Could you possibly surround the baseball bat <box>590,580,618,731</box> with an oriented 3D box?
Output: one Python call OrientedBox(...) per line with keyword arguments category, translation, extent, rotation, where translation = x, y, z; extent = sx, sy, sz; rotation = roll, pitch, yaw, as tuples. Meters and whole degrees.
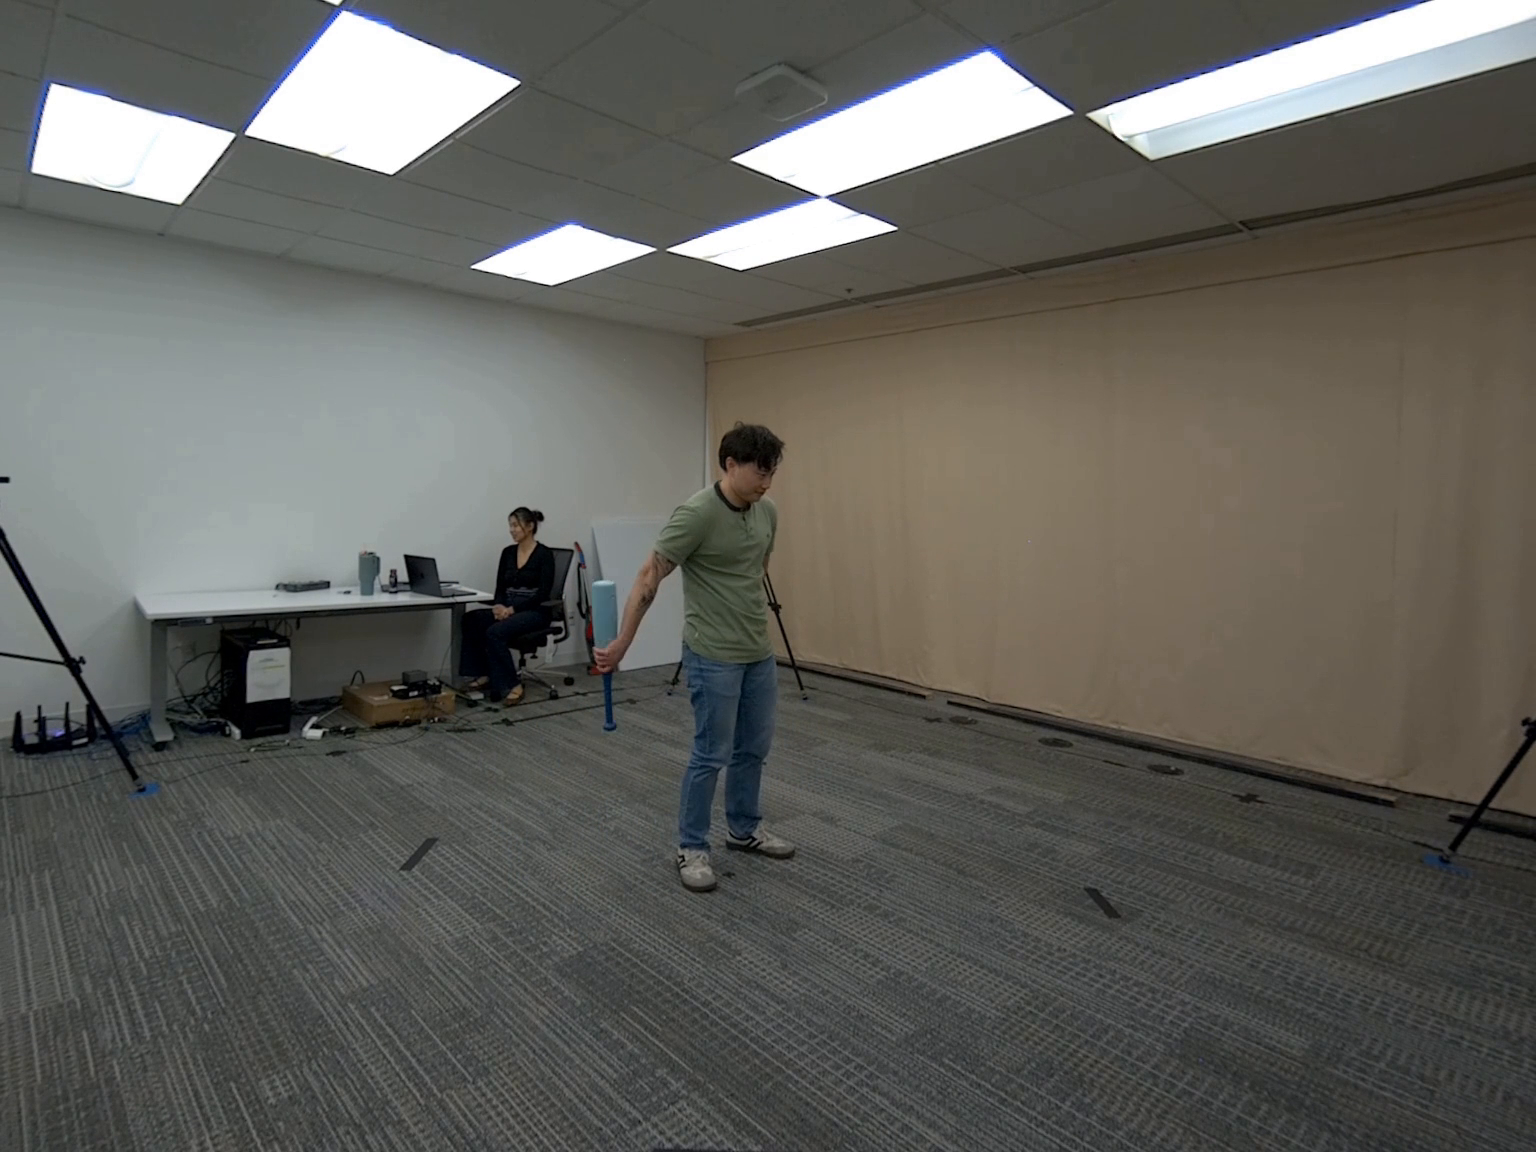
OrientedBox(category="baseball bat", translation=(-0.556, 0.291, 2.987), extent=(0.089, 0.539, 0.090), rotation=(-1, 10, -1))
